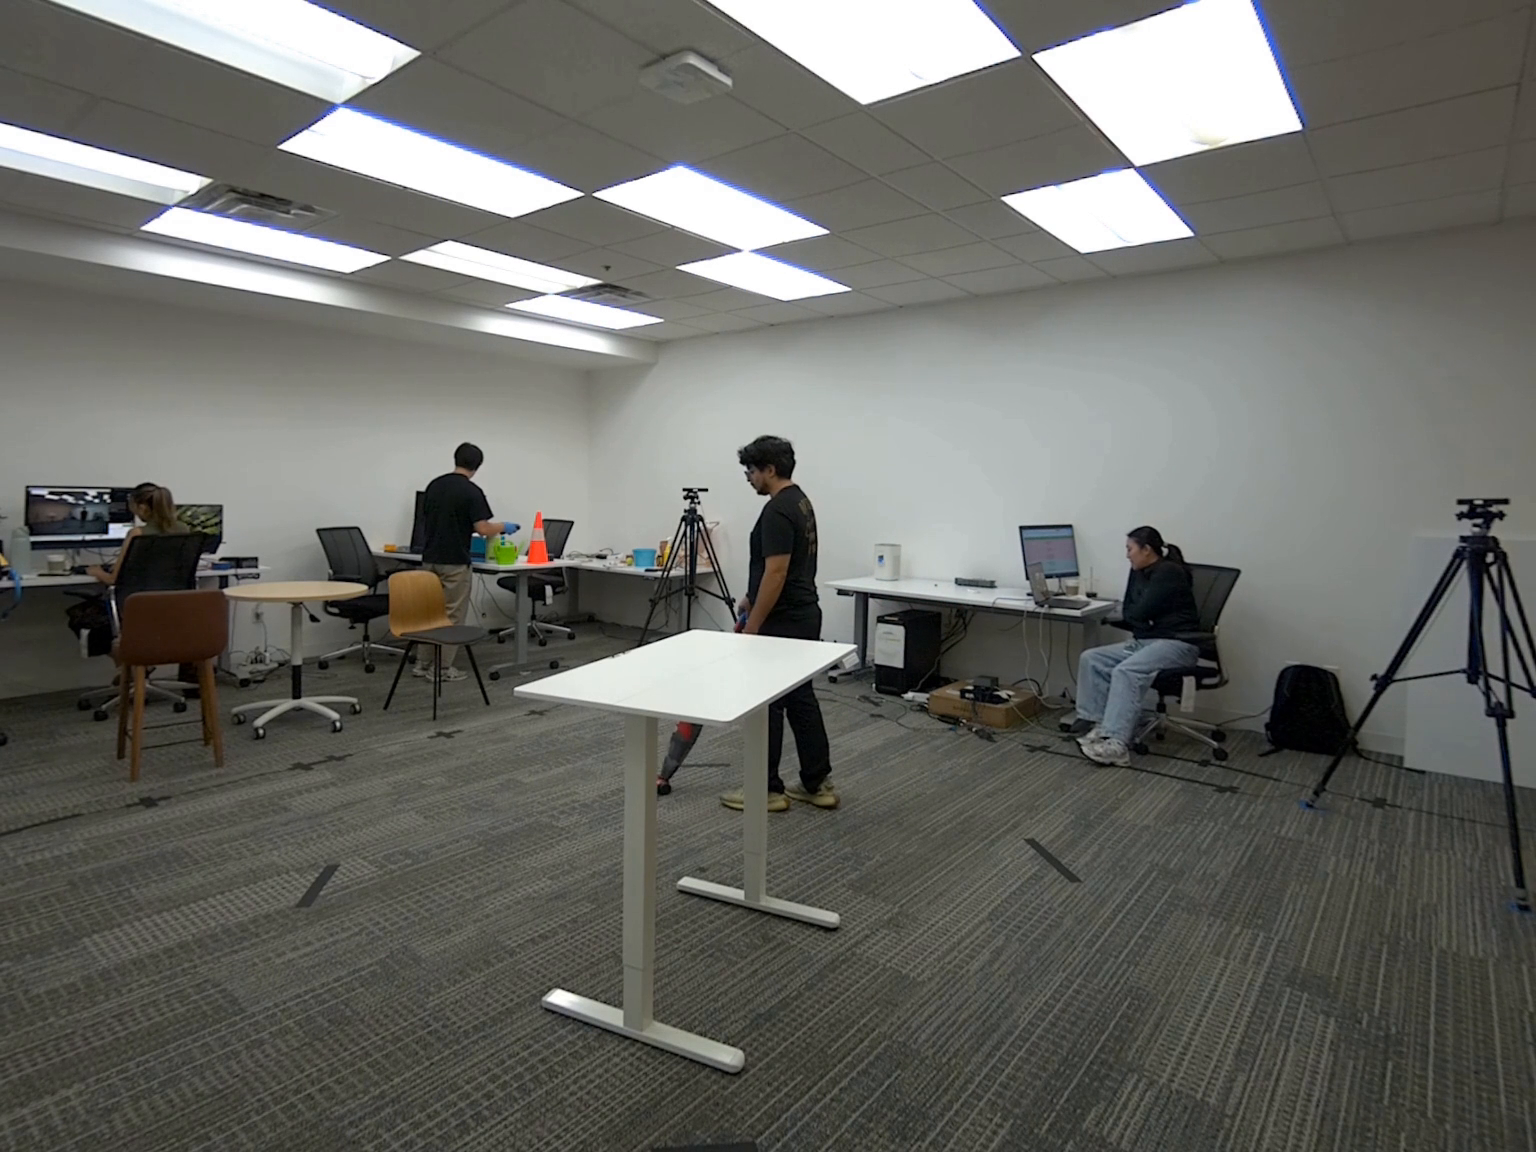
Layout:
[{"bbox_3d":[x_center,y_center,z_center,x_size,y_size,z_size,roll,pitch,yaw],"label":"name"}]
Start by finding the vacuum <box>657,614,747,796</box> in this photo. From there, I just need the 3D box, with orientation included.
[{"bbox_3d":[-0.282,0.532,3.990,0.140,1.052,0.259,35,-11,-24],"label":"vacuum"}]
